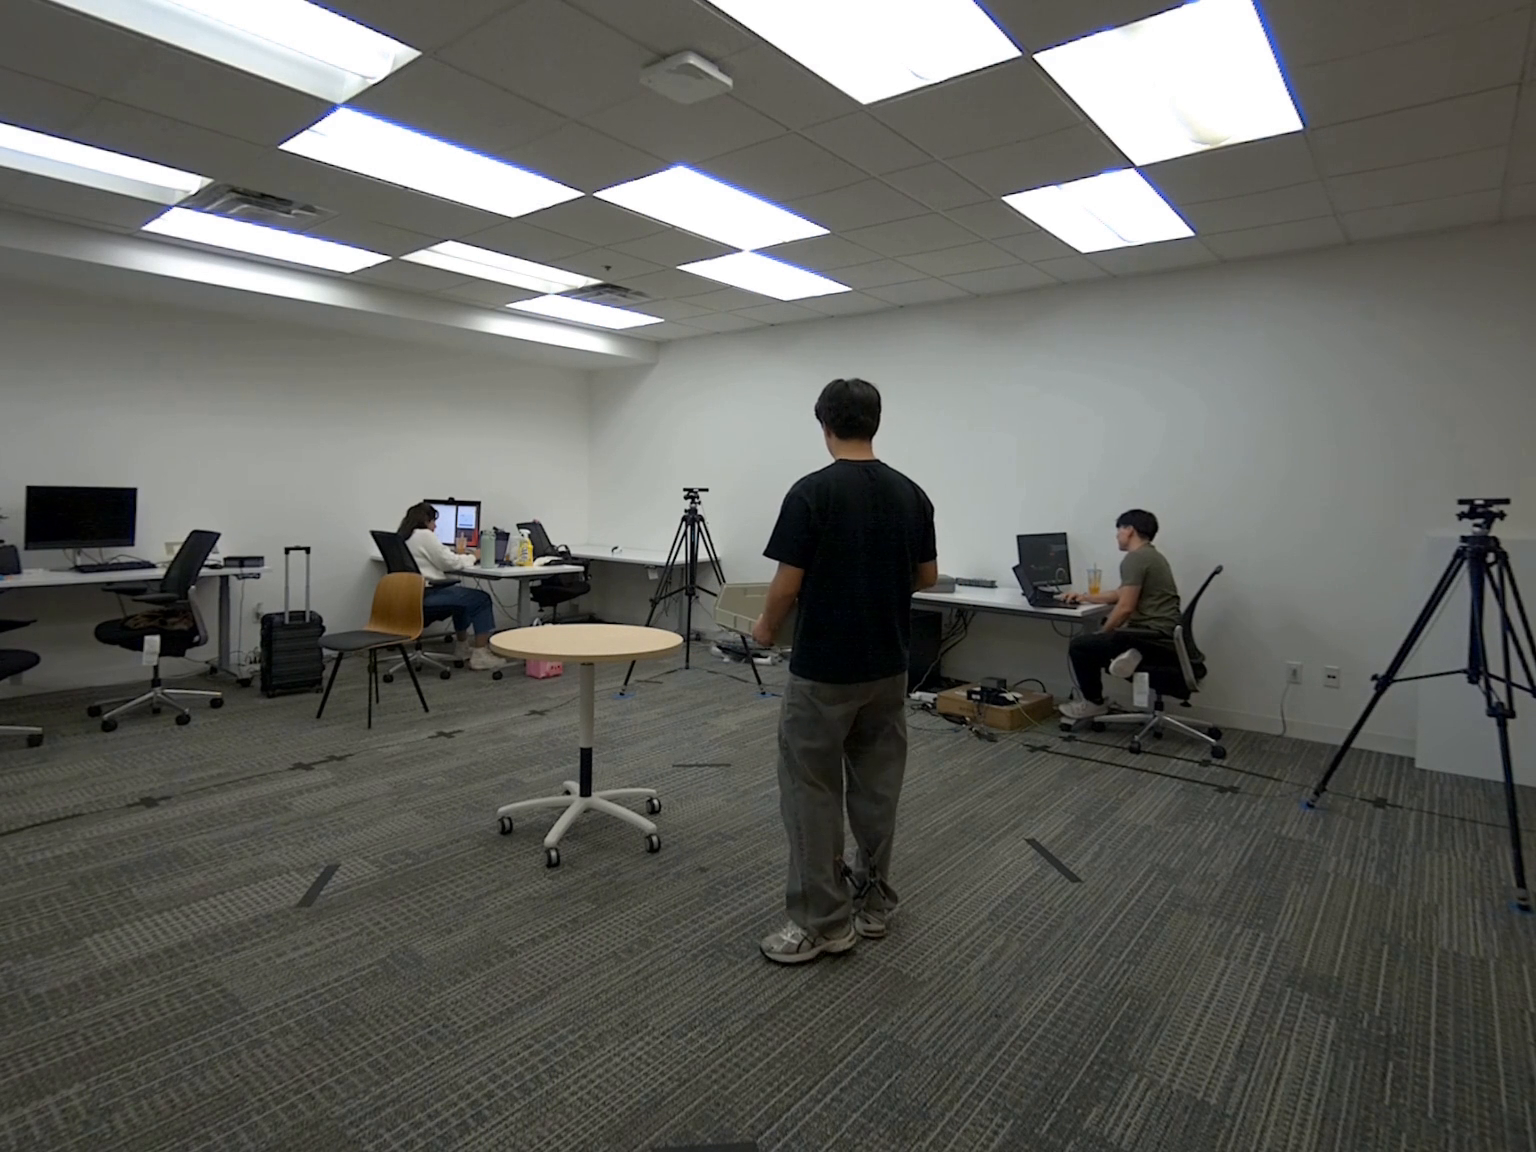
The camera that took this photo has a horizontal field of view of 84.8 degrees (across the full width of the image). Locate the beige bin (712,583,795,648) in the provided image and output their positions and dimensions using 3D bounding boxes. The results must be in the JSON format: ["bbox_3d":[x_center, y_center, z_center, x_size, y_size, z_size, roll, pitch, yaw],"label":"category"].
[{"bbox_3d":[0.045,0.133,3.060,0.367,0.188,0.436,1,5,-31],"label":"beige bin"}]
